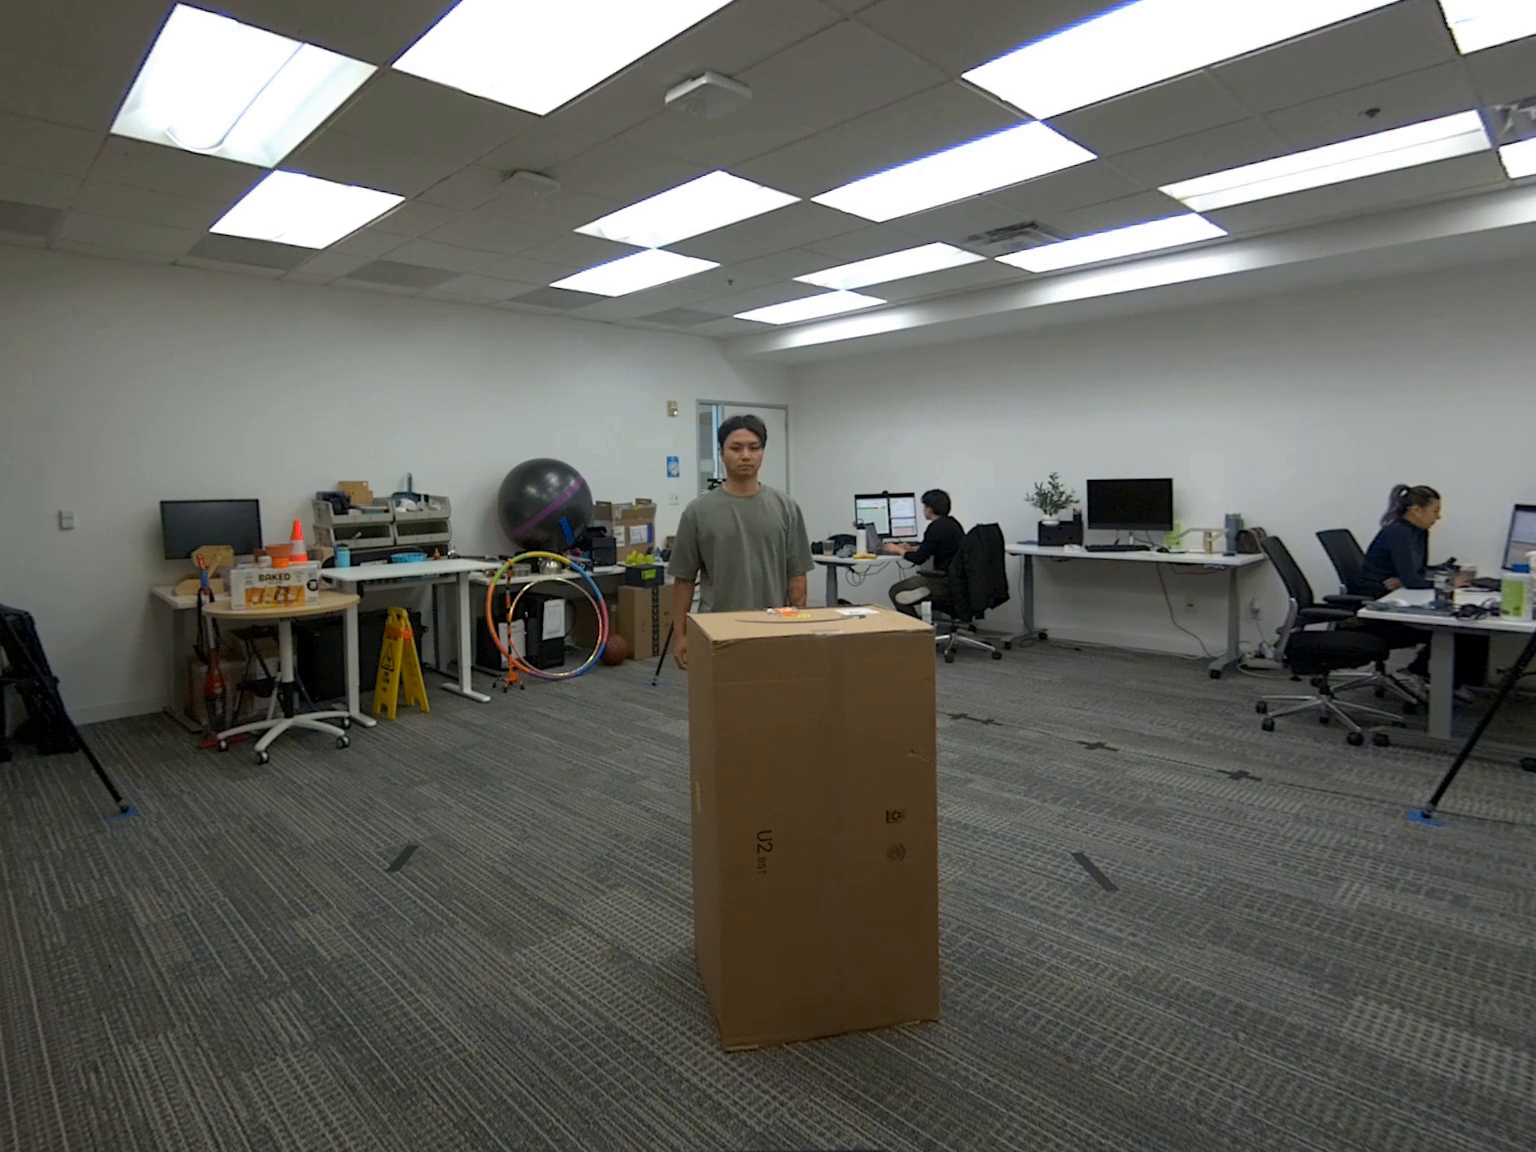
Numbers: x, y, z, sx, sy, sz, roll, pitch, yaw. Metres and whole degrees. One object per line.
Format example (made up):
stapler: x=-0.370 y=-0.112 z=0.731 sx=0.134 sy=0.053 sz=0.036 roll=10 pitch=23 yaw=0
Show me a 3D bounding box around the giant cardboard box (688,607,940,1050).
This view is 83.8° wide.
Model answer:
giant cardboard box: x=0.107 y=0.629 z=2.312 sx=0.571 sy=1.021 sz=0.433 roll=-2 pitch=5 yaw=-13
